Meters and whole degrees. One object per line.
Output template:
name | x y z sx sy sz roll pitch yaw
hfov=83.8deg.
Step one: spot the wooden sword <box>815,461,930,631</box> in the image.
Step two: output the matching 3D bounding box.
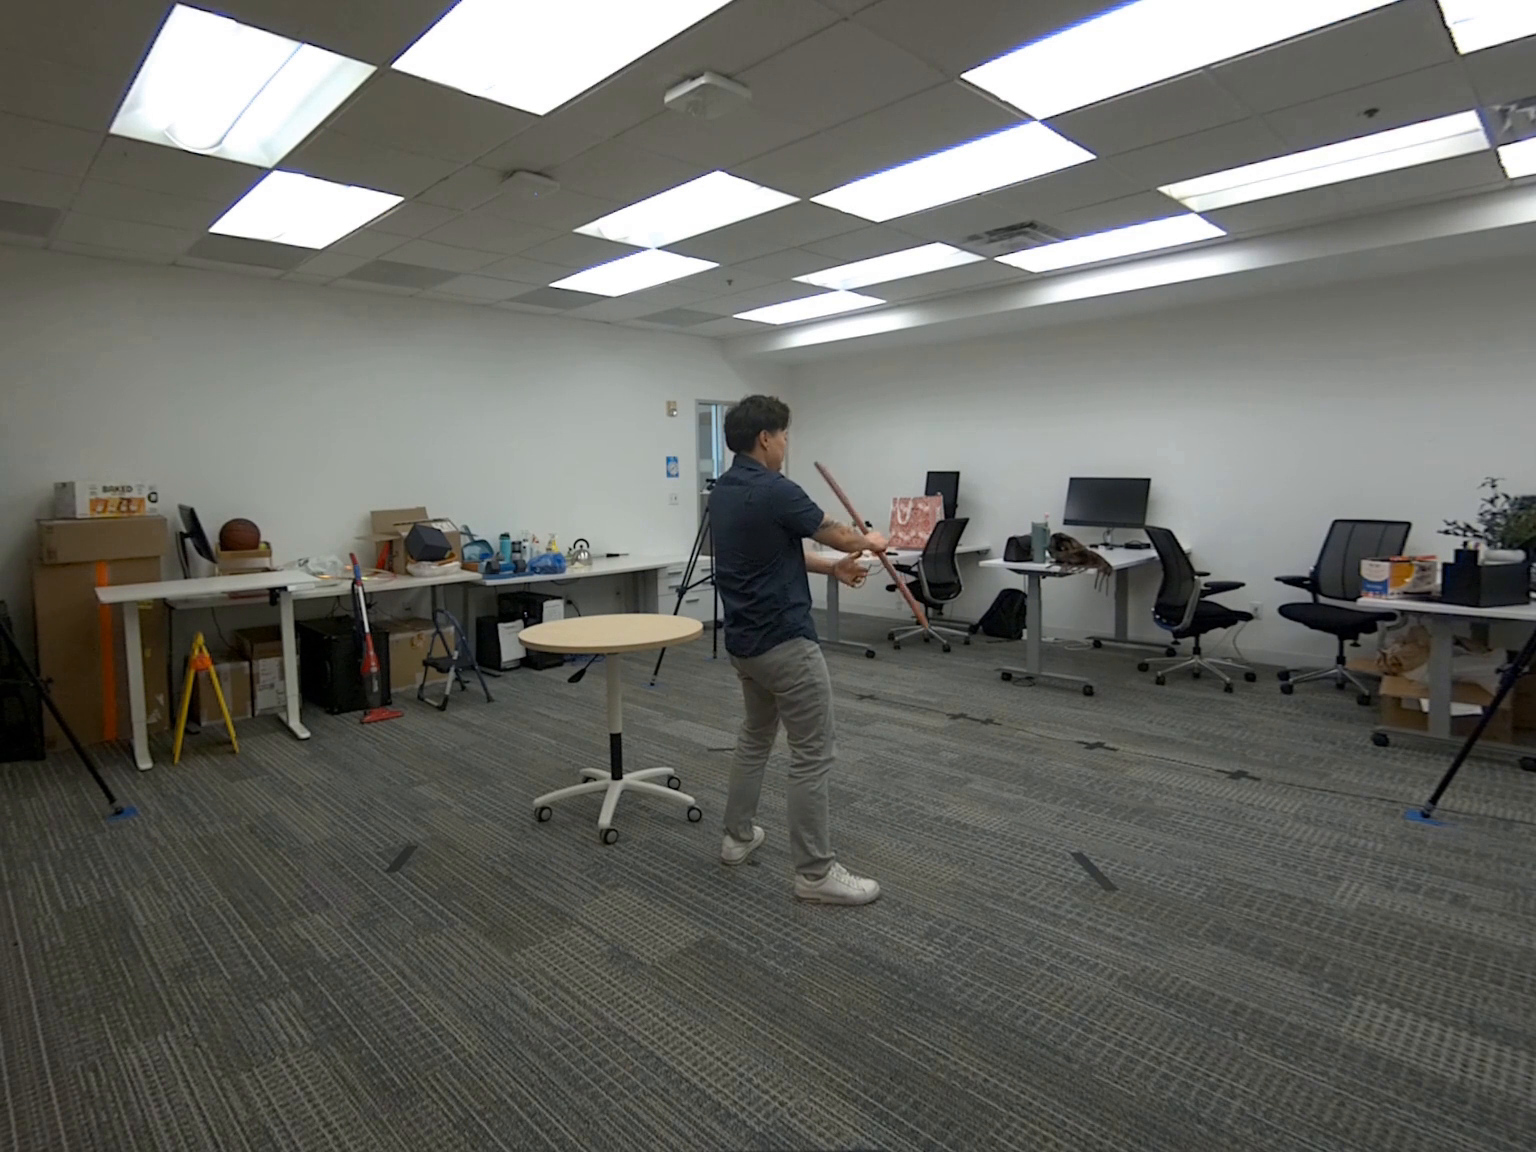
wooden sword | 0.376 -0.144 3.201 0.051 0.023 1.063 -9 41 -14
